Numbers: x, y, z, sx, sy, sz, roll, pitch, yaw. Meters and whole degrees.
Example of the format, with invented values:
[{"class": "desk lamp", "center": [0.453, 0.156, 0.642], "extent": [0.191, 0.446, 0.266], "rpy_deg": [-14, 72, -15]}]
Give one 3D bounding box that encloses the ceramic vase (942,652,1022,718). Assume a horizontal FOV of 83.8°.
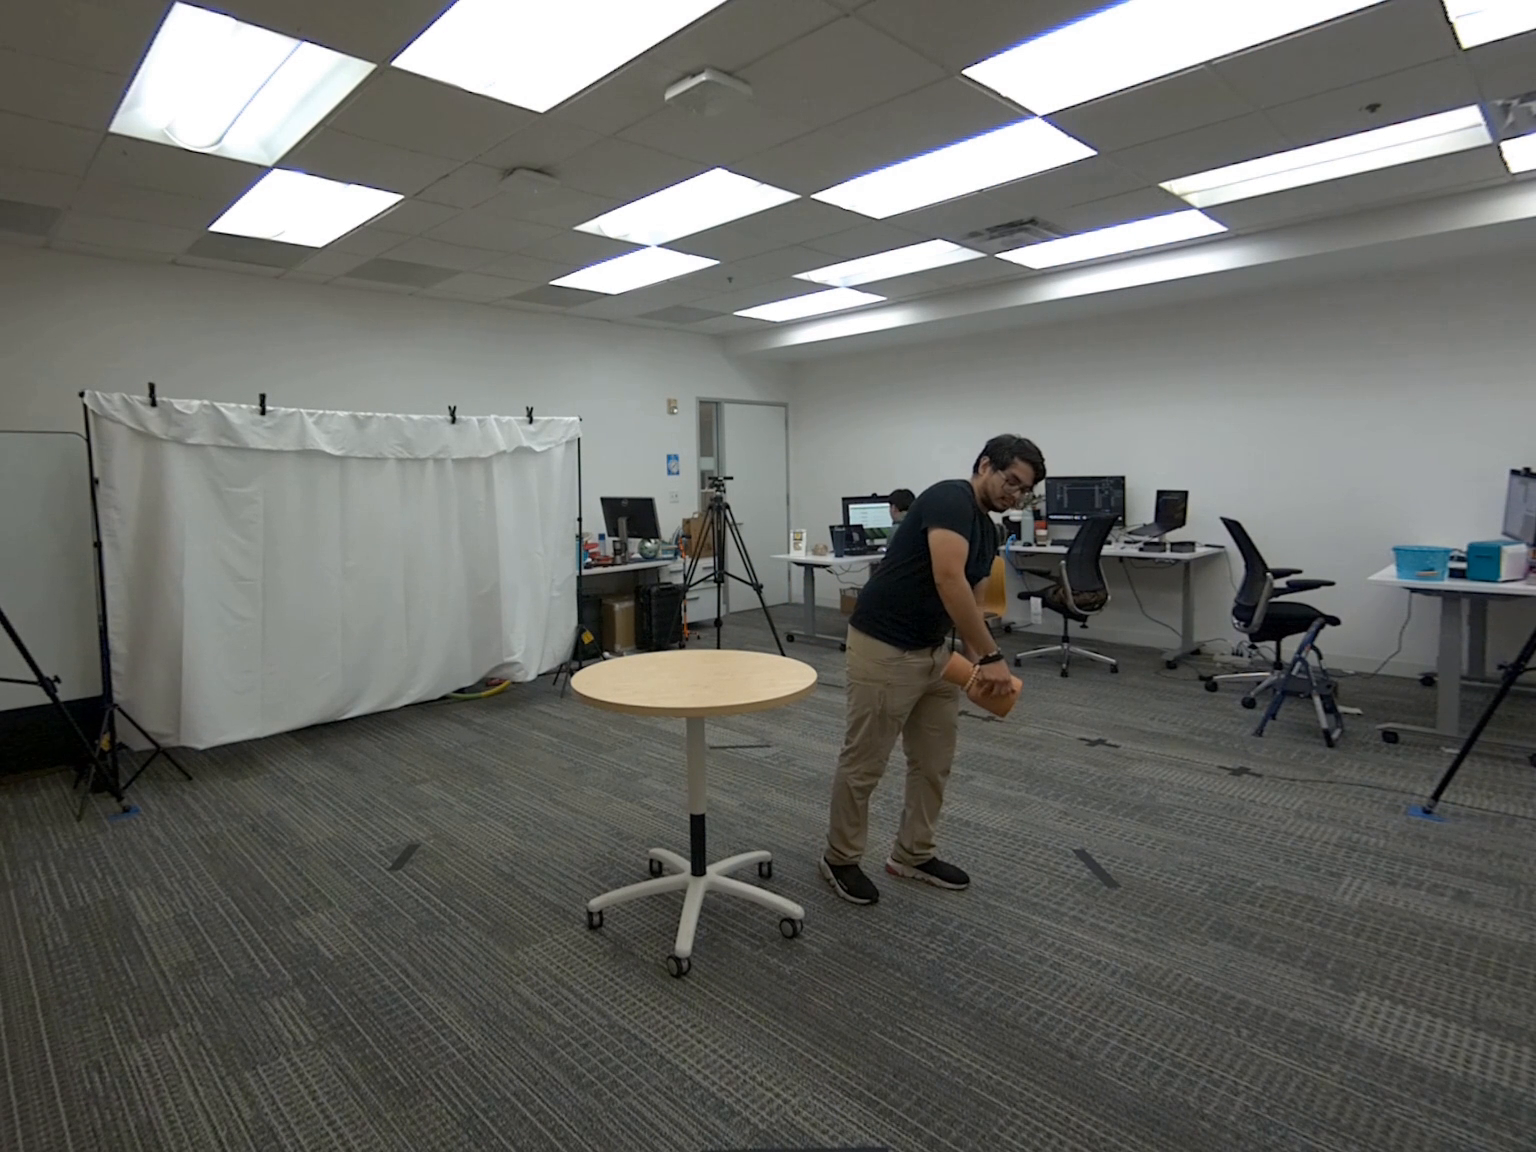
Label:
[{"class": "ceramic vase", "center": [0.661, 0.329, 2.665], "extent": [0.223, 0.156, 0.135], "rpy_deg": [27, 40, 12]}]
